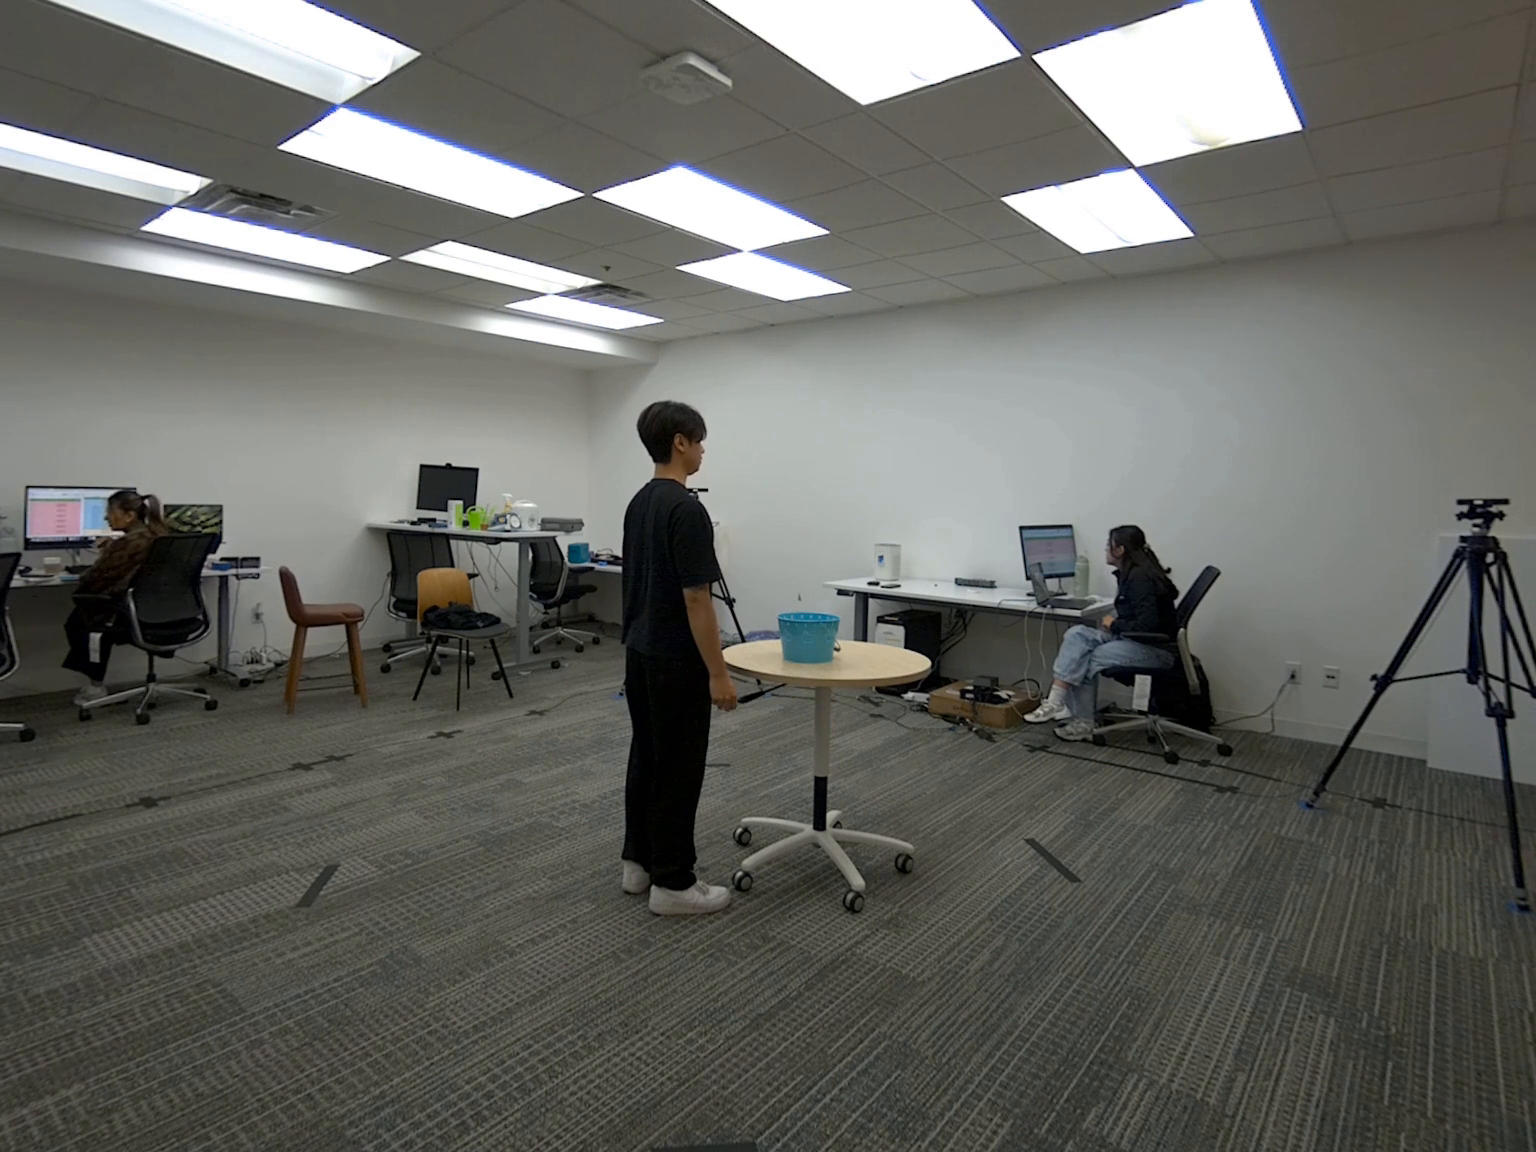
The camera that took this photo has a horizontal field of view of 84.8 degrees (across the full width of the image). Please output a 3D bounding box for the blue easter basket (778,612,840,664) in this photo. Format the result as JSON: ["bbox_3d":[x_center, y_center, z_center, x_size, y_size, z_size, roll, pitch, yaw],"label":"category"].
[{"bbox_3d":[0.130,0.224,3.090,0.243,0.155,0.244,2,3,-2],"label":"blue easter basket"}]
